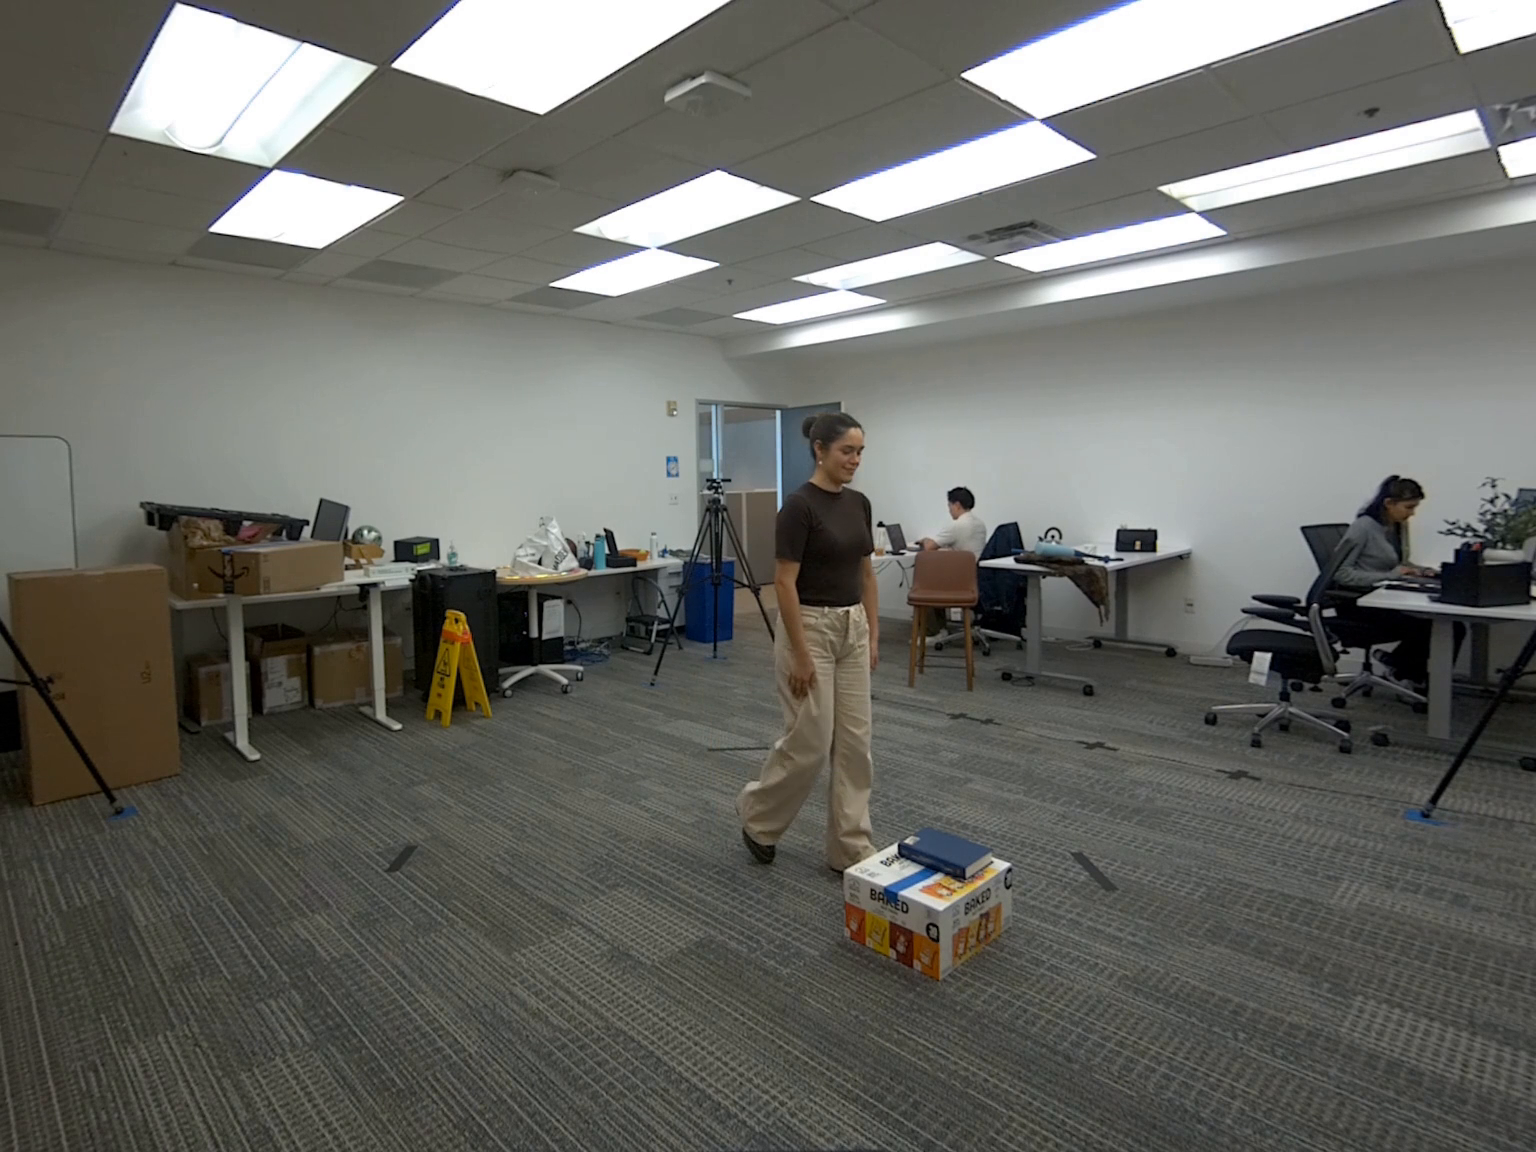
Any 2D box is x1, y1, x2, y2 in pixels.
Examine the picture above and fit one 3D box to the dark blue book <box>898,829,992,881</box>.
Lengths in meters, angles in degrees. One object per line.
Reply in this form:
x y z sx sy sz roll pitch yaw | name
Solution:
0.558 0.863 2.669 0.159 0.045 0.253 -11 11 -44 | dark blue book
